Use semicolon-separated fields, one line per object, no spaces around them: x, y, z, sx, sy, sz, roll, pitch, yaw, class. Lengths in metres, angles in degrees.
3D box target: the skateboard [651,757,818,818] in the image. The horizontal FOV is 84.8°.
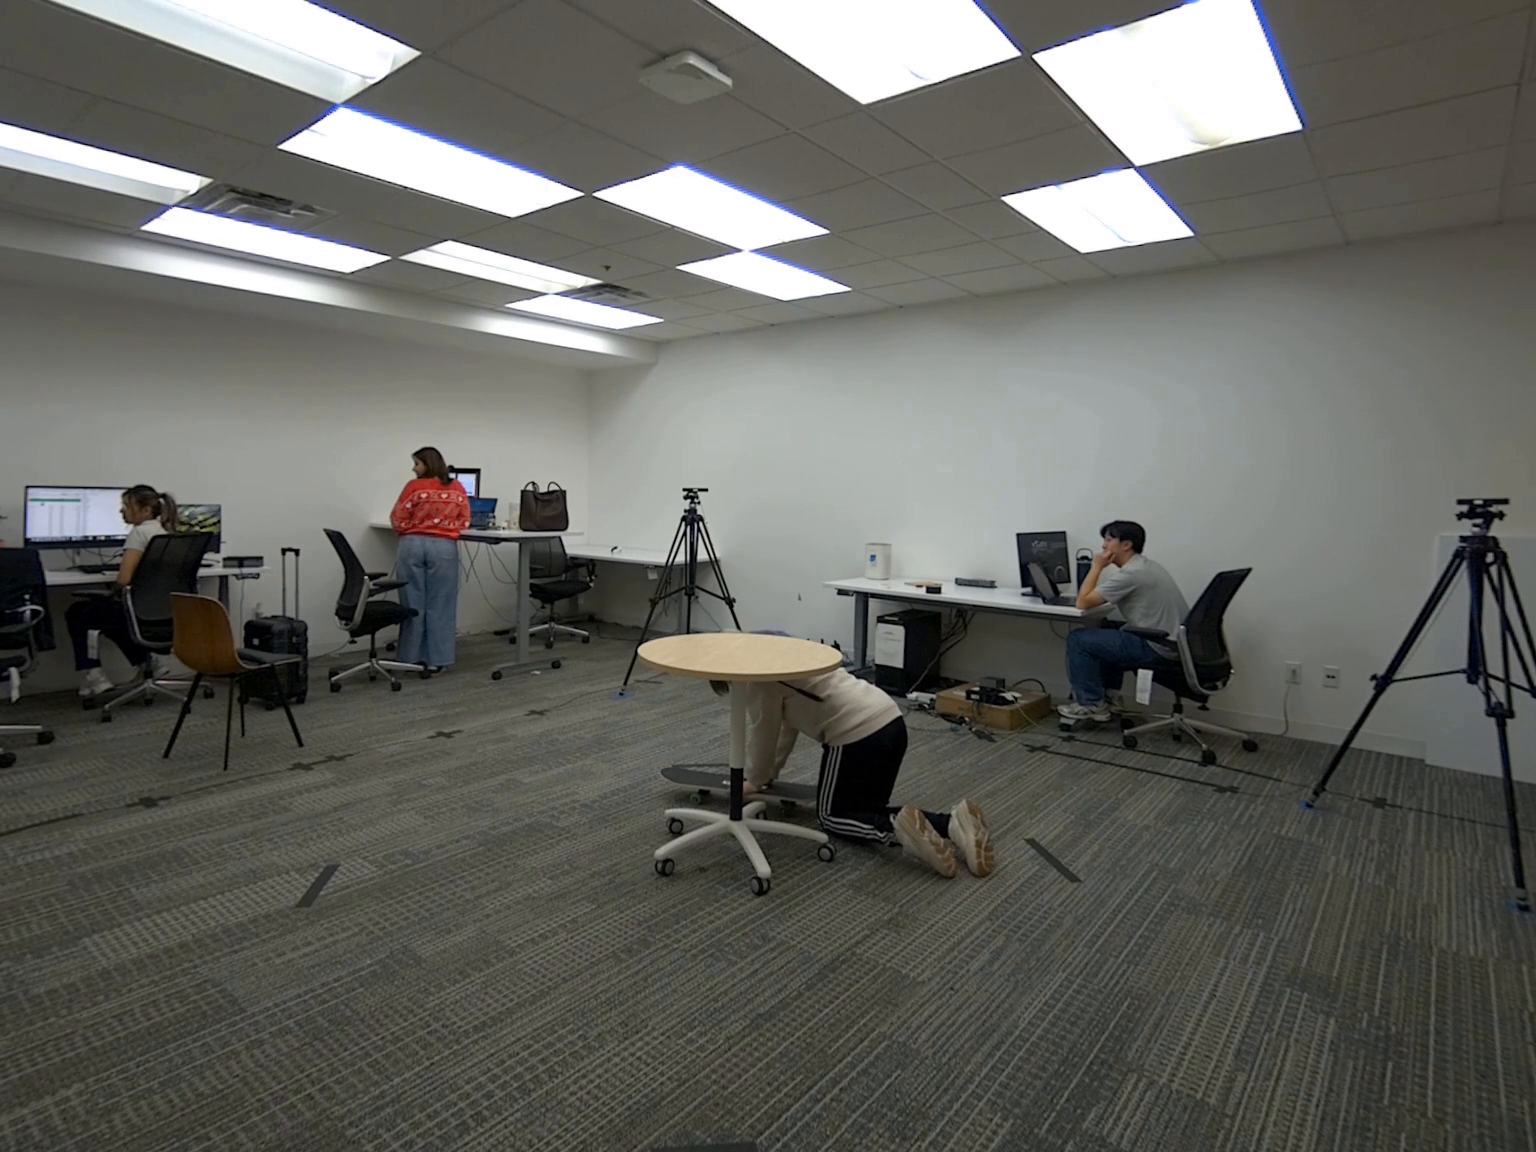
-0.119;0.940;3.760;0.800;0.110;0.191;3;6;16;skateboard
